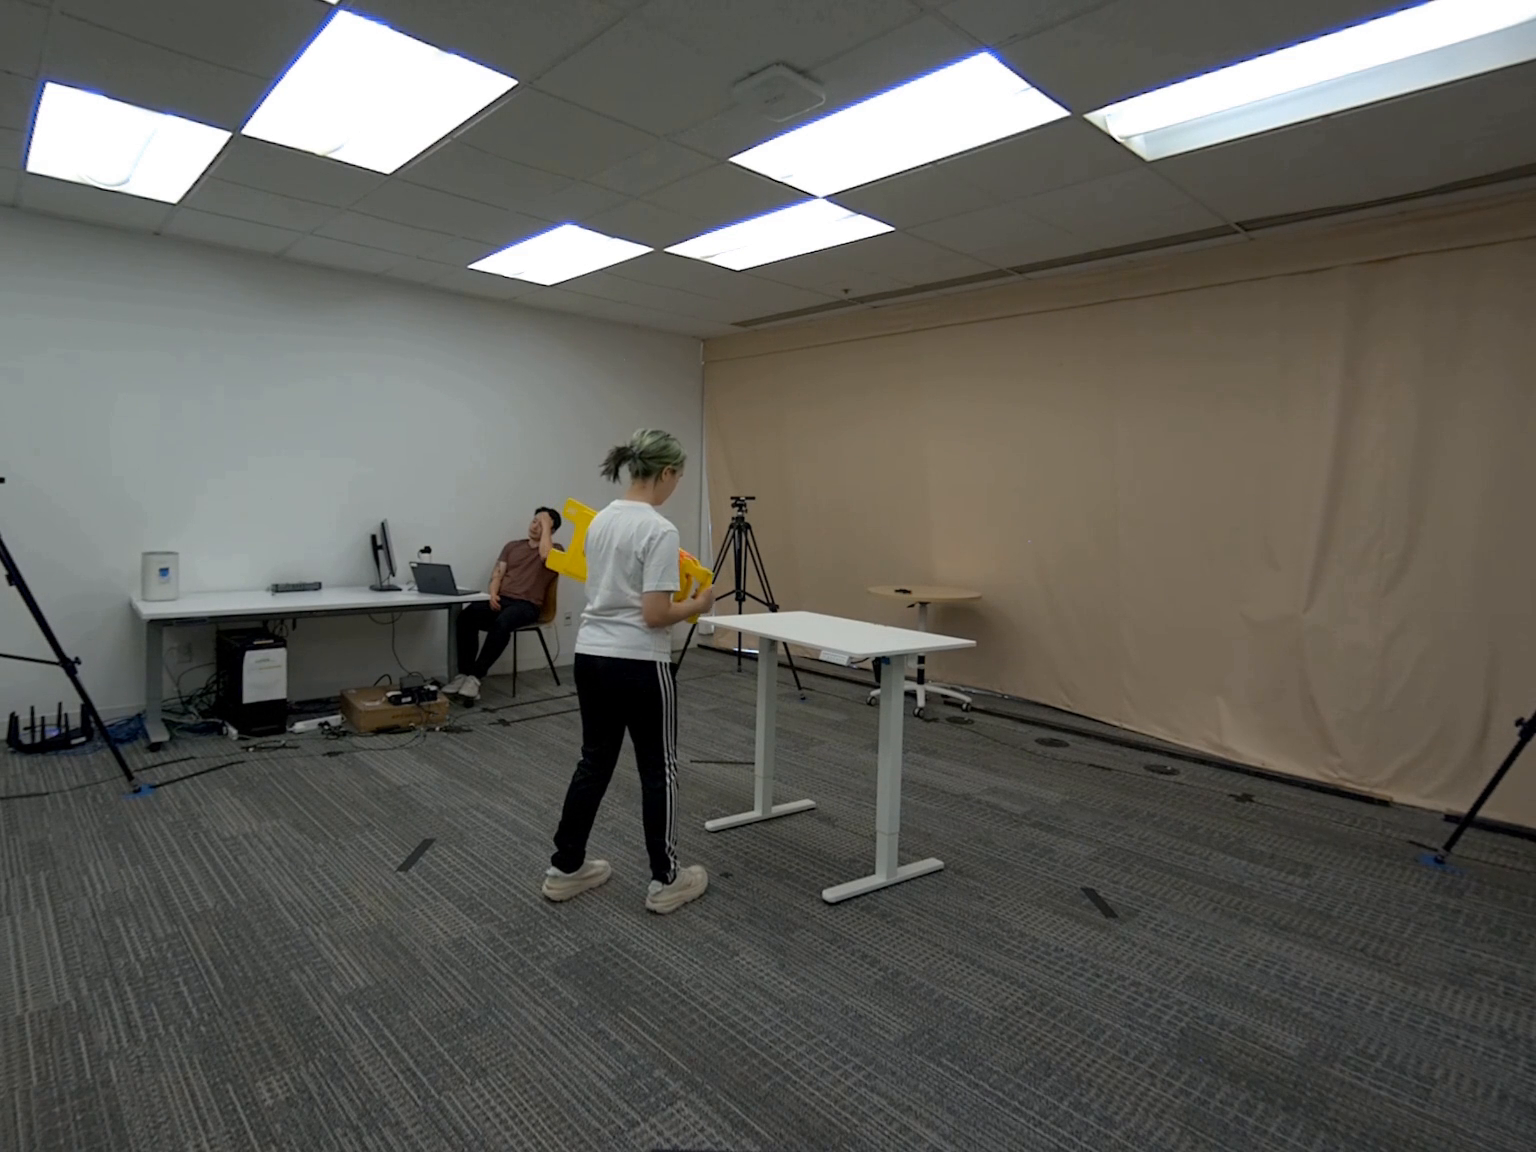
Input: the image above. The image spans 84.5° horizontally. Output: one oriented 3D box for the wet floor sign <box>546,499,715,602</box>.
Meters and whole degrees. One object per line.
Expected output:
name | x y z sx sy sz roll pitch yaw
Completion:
wet floor sign | -0.490 -0.035 3.107 0.664 0.281 0.283 26 12 31
